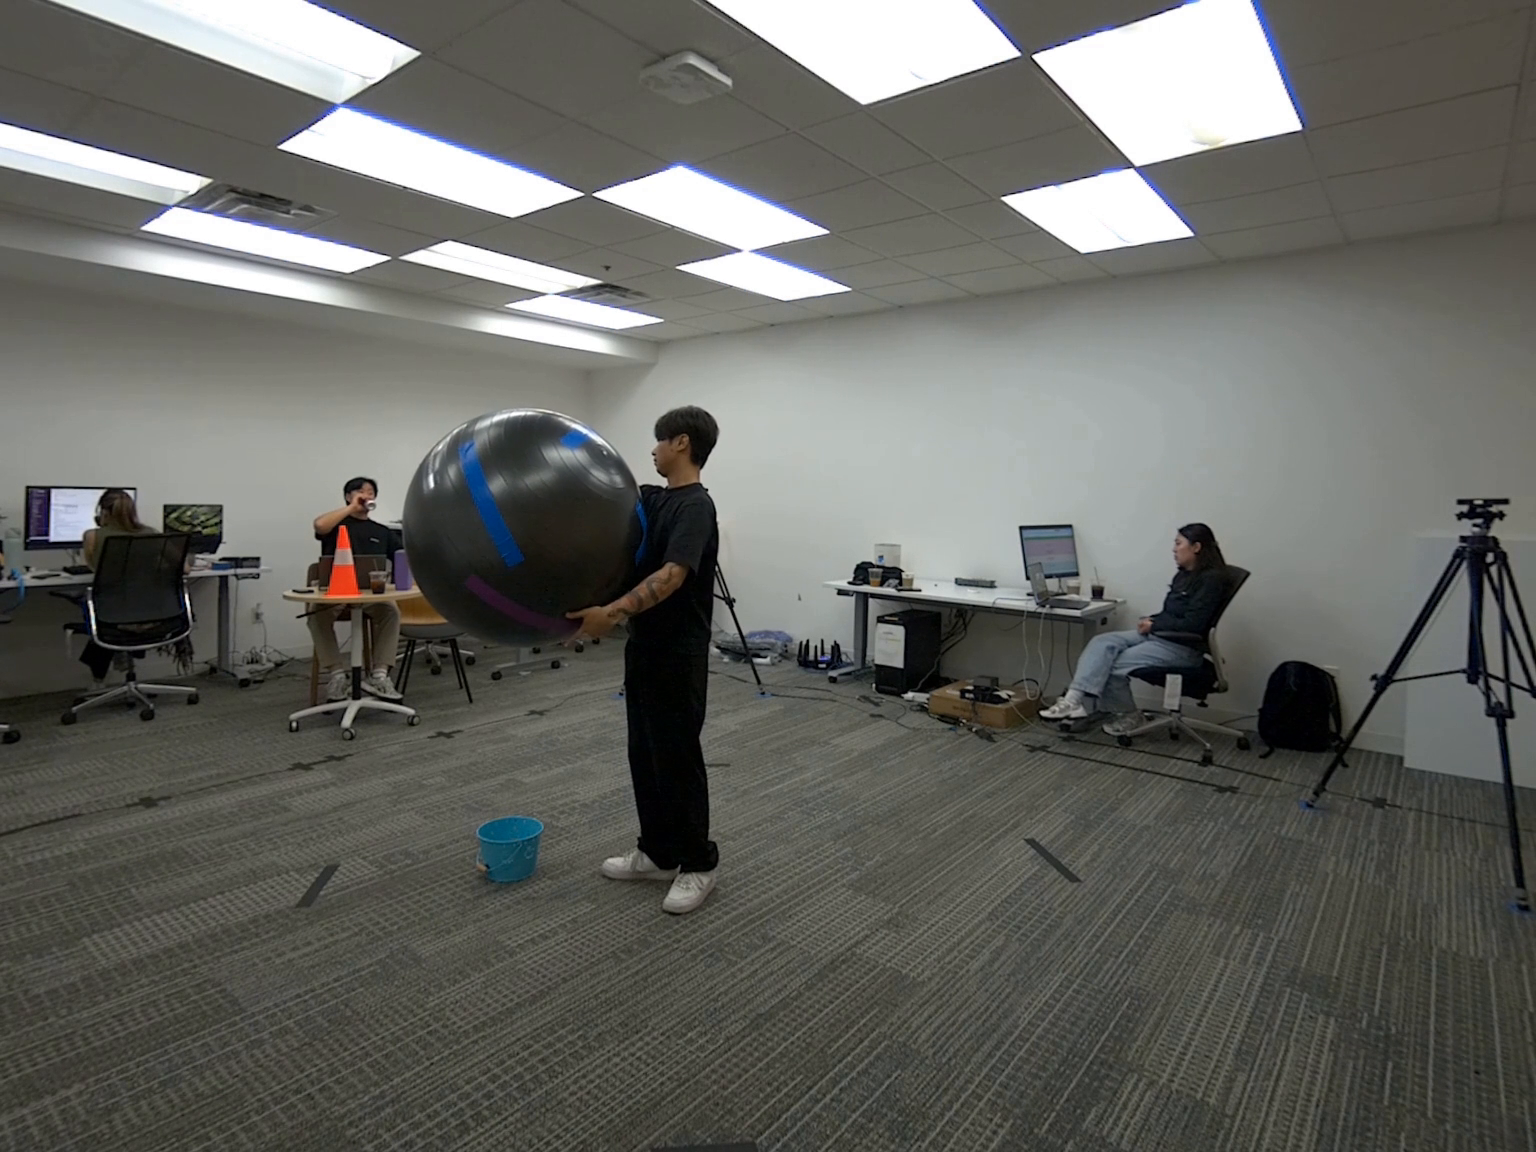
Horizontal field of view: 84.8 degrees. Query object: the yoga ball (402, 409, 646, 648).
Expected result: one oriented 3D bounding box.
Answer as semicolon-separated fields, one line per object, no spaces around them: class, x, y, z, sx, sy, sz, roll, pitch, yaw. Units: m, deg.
yoga ball;-0.790;-0.151;2.717;0.757;0.756;0.762;1;4;-2
